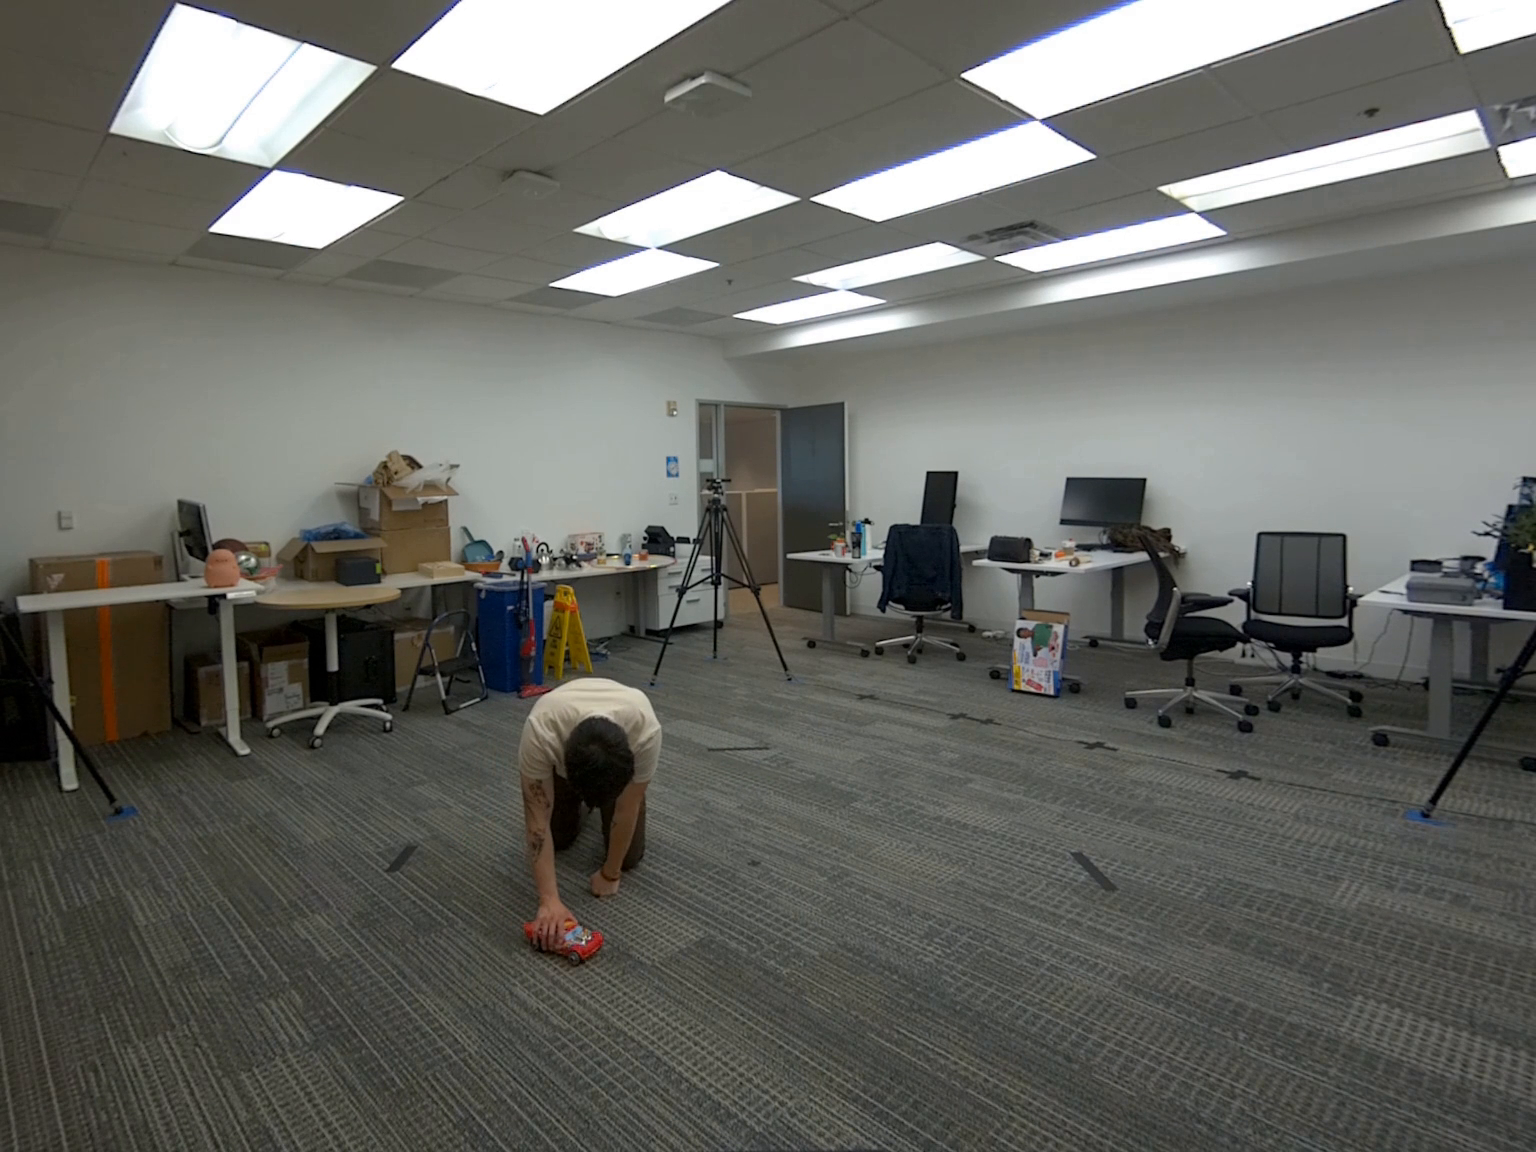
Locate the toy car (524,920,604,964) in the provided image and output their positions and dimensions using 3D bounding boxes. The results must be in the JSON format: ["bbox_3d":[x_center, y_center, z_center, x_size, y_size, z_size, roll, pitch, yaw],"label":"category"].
[{"bbox_3d":[-0.625,1.096,2.571,0.262,0.082,0.127,14,13,28],"label":"toy car"}]
